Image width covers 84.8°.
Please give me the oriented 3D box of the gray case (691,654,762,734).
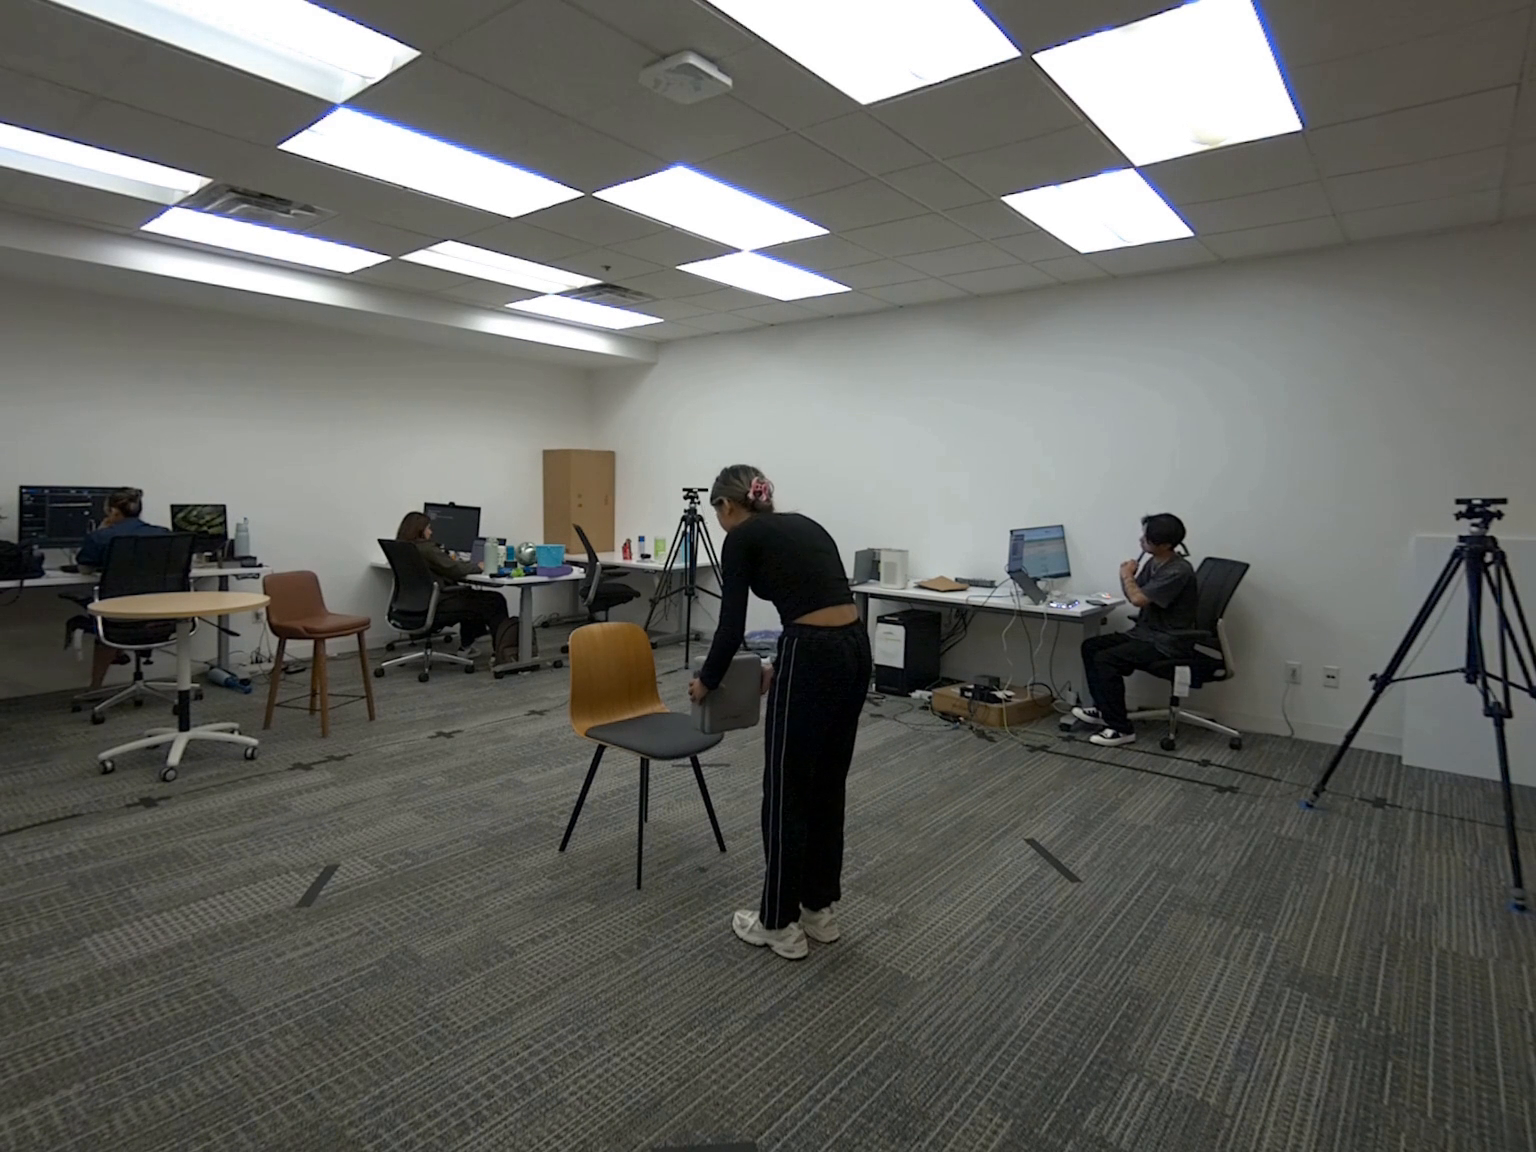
[{"bbox_3d":[-0.152,0.383,2.864,0.249,0.261,0.107,1,-1,-44],"label":"gray case"}]
